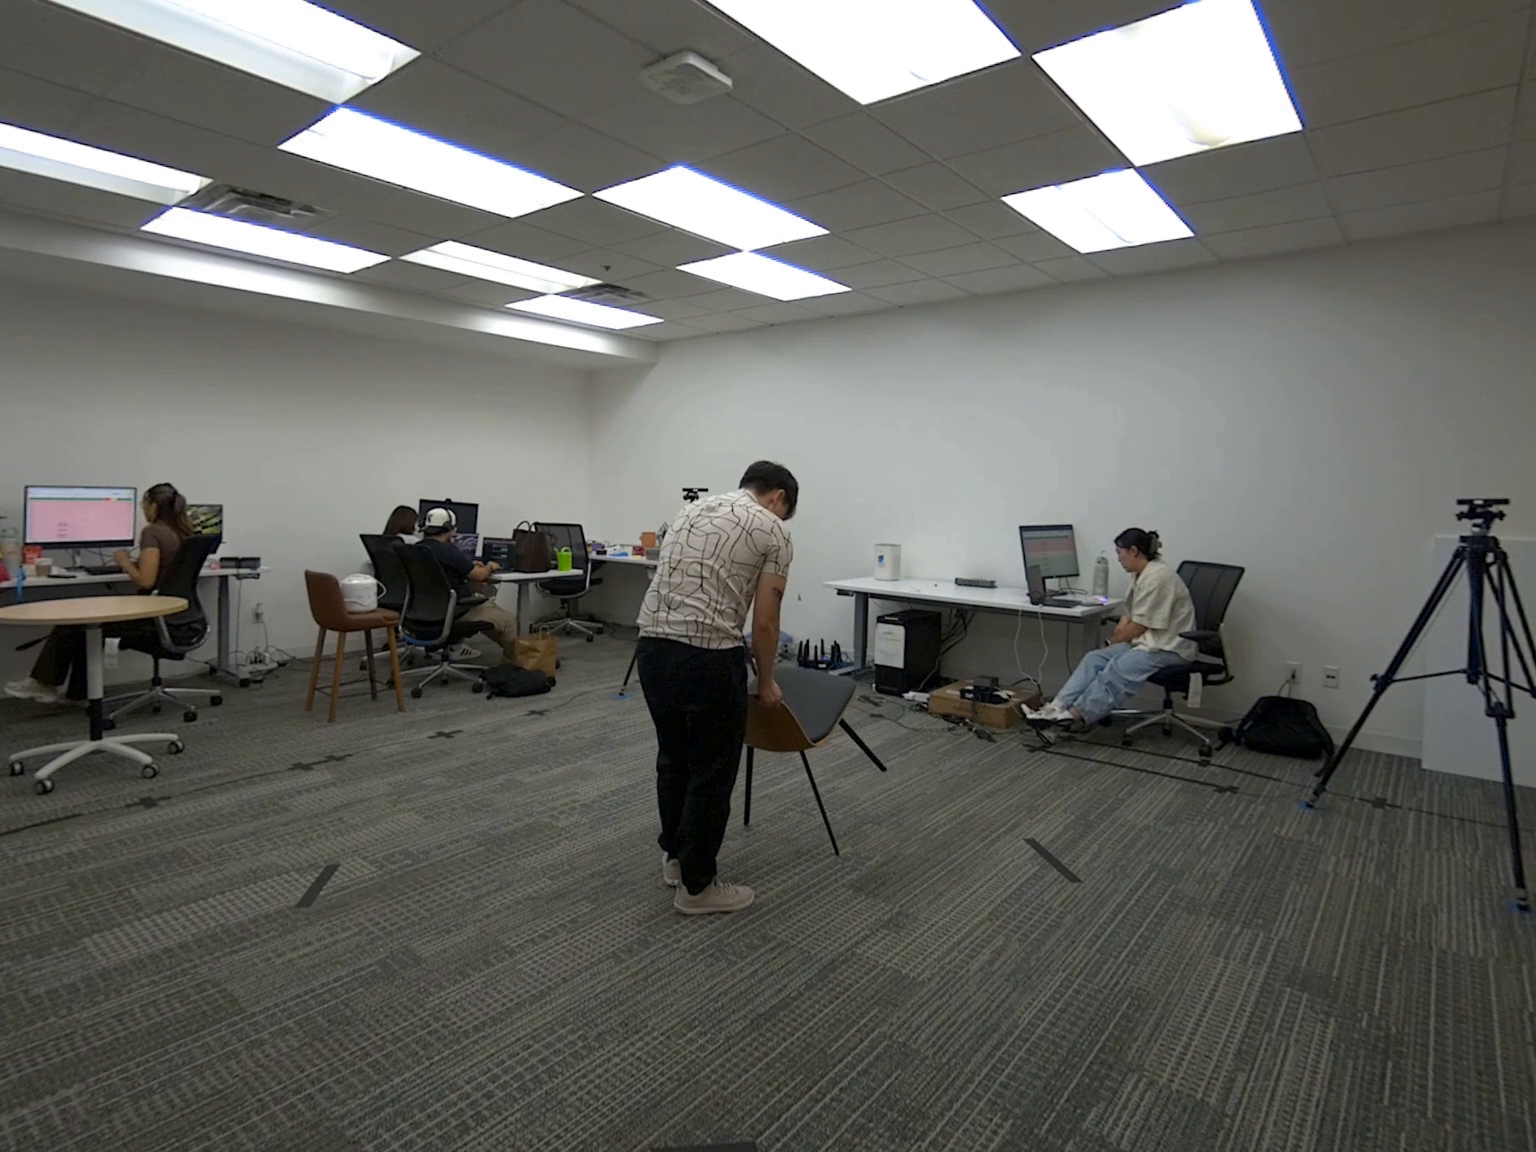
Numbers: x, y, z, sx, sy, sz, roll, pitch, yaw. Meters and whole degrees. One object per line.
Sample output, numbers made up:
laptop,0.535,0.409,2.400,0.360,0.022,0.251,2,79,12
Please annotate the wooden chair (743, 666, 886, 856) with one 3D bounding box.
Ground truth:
wooden chair,0.073,0.562,3.345,0.494,0.848,0.524,4,40,37
